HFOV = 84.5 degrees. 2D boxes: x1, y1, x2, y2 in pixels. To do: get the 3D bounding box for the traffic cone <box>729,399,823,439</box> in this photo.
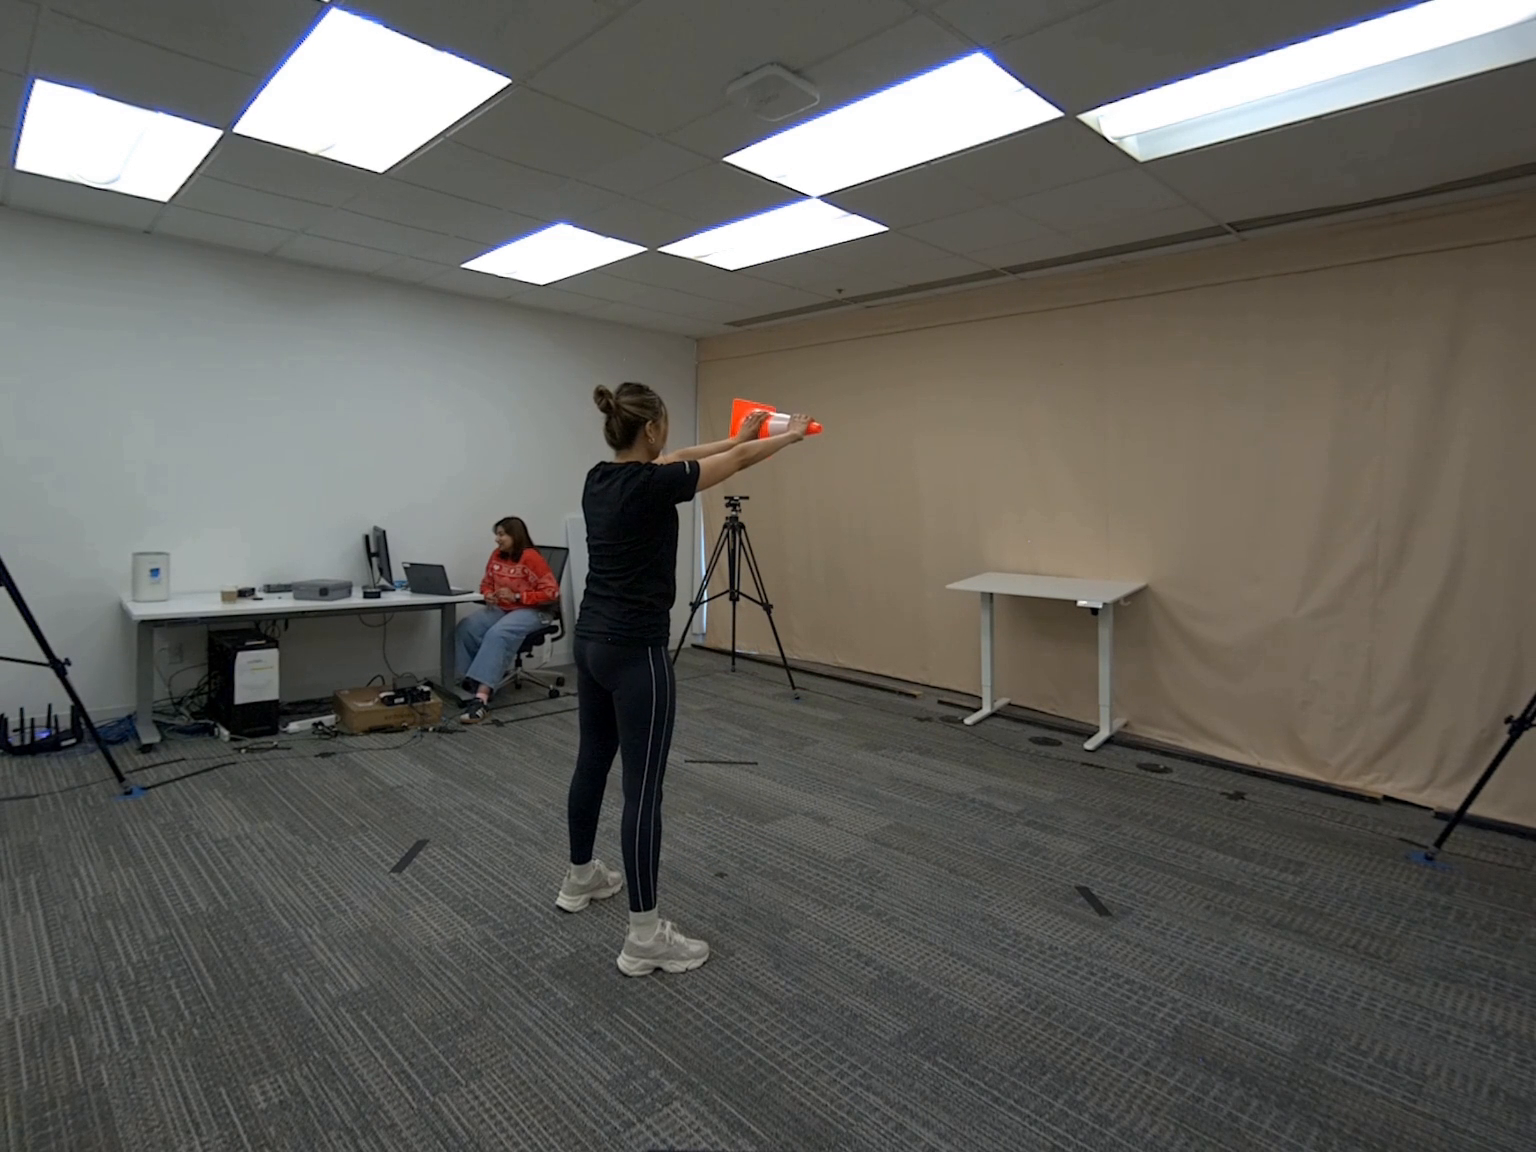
[{"bbox_3d":[0.046,-0.521,3.002,0.198,0.204,0.394,6,5,-36],"label":"traffic cone"}]
